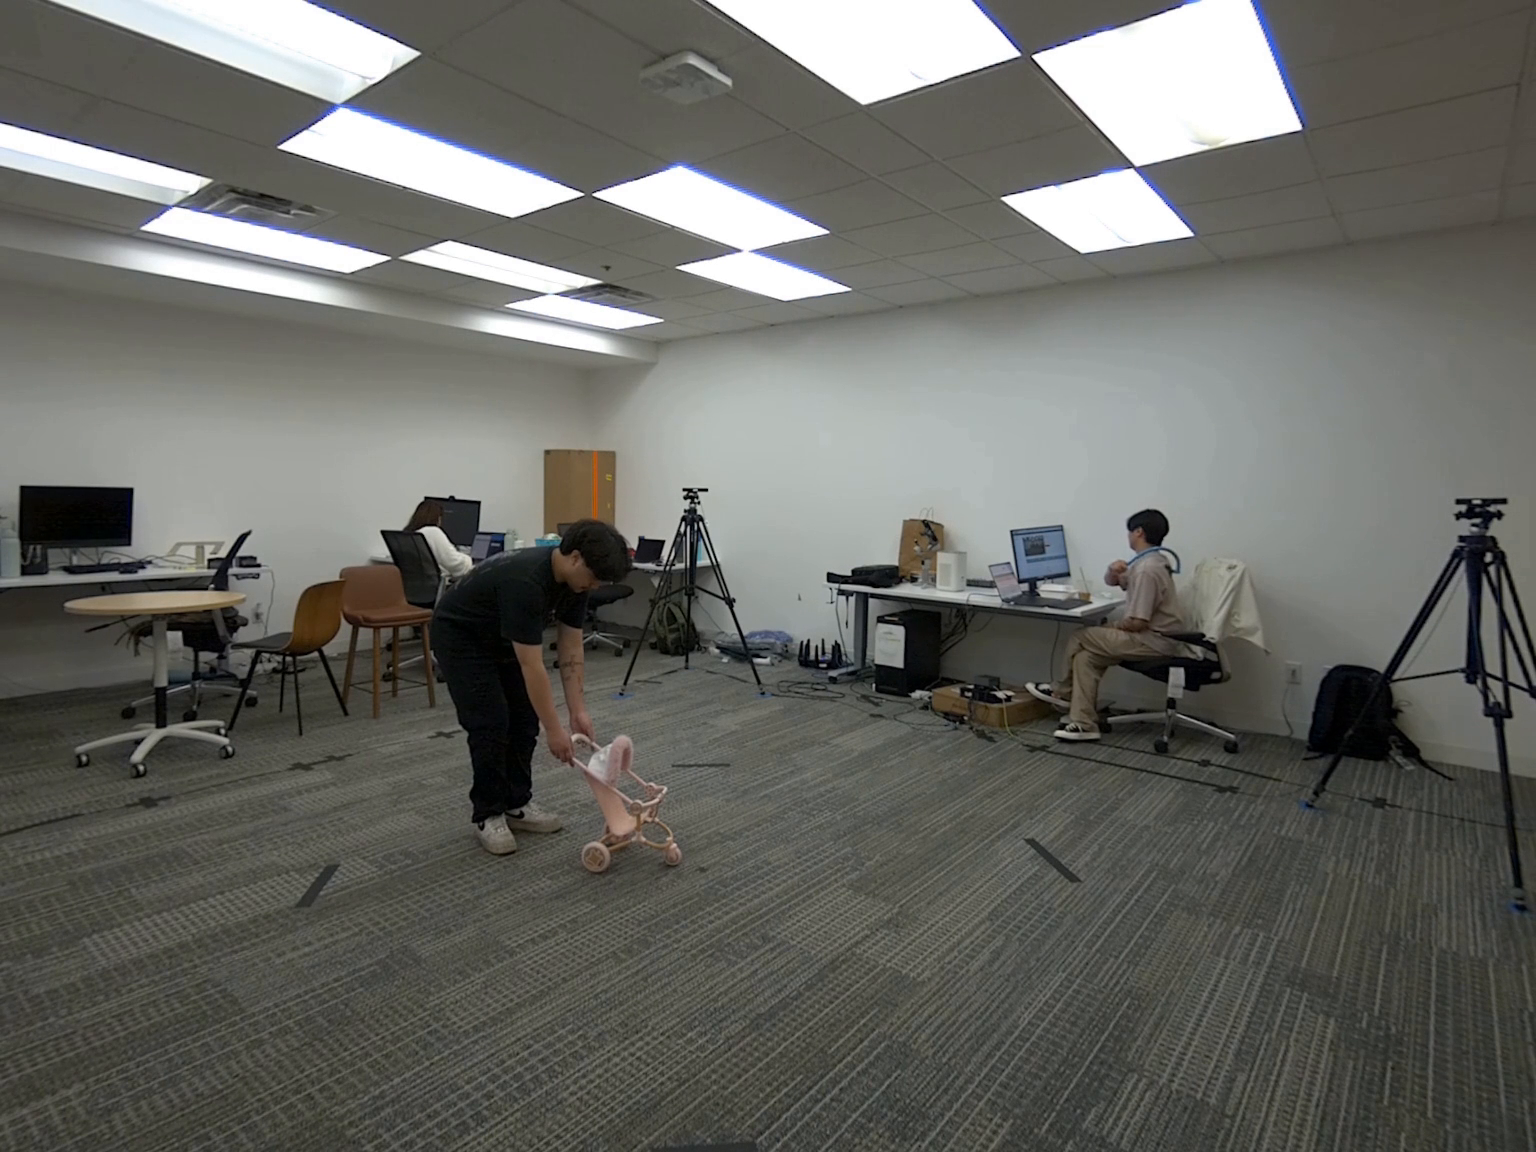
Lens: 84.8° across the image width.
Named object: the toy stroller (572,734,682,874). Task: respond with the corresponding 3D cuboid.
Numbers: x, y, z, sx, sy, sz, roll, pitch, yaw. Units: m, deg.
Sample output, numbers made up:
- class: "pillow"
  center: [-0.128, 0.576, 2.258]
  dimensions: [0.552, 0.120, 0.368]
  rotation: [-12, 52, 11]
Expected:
- class: "toy stroller"
  center: [-0.548, 0.834, 3.164]
  dimensions: [0.346, 0.535, 0.278]
  rotation: [-14, 0, 15]
